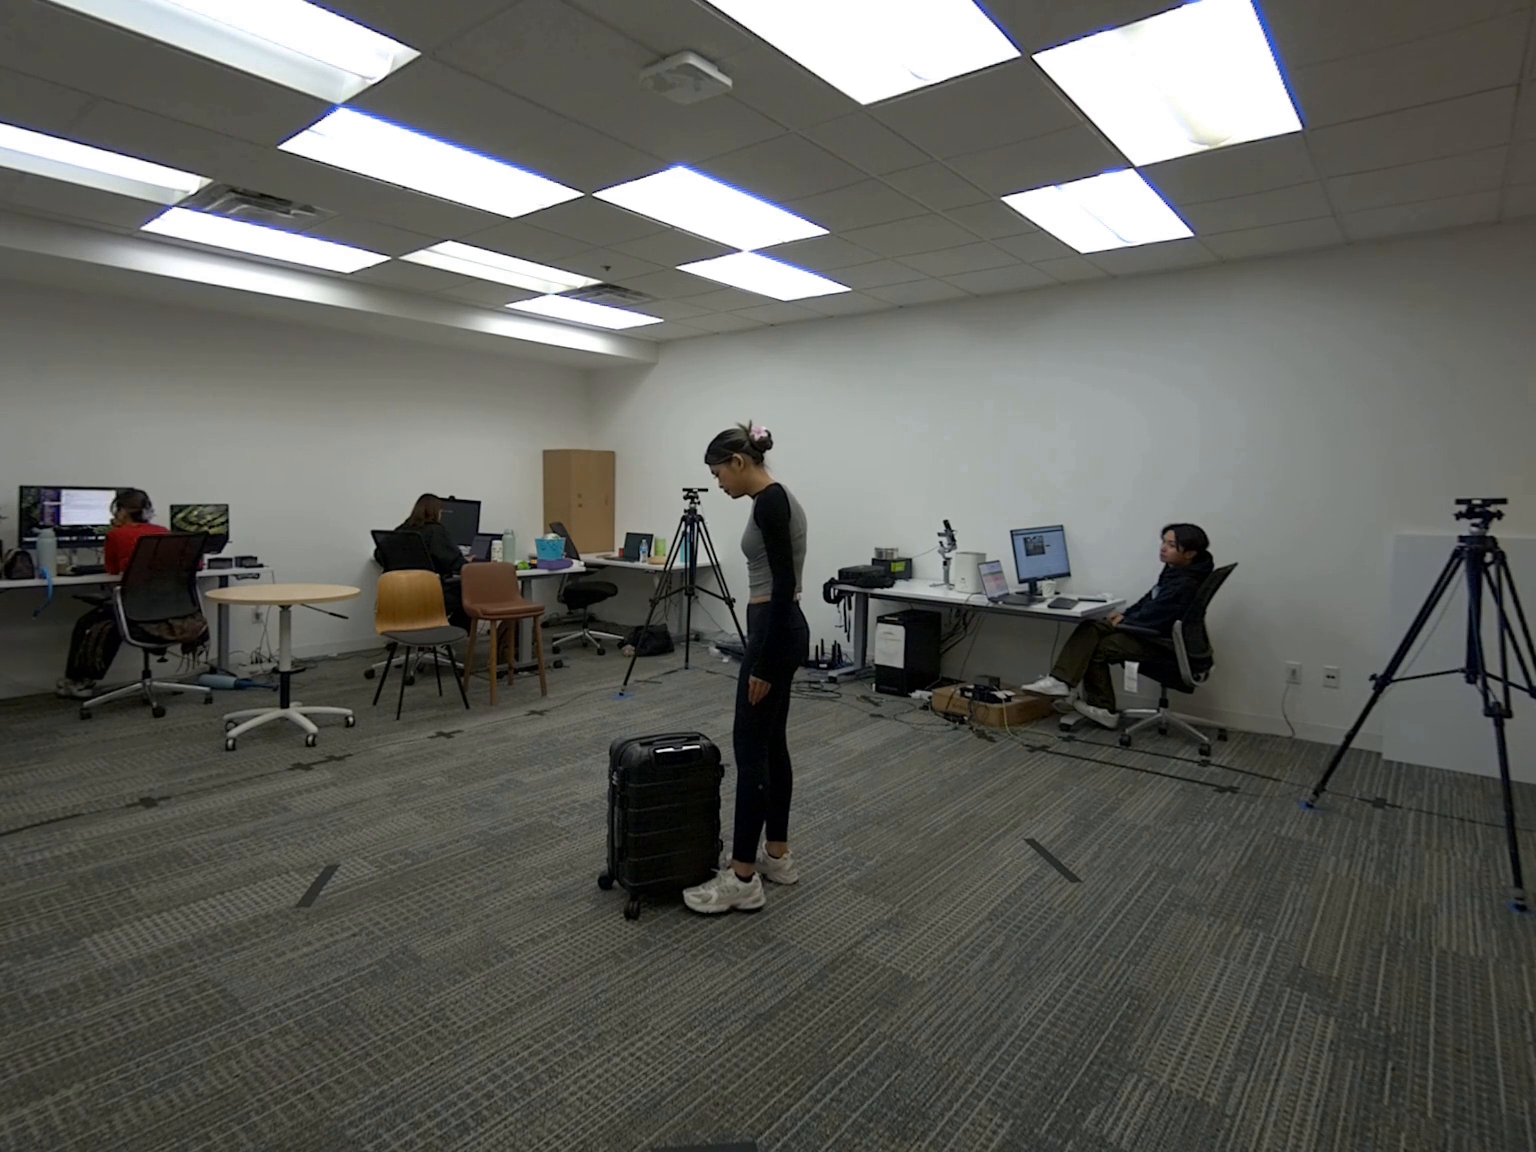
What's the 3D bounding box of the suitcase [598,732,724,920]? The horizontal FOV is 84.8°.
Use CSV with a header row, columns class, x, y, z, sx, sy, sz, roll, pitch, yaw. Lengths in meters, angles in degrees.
class,x,y,z,sx,sy,sz,roll,pitch,yaw
suitcase,-0.371,0.807,2.913,0.366,0.548,0.255,-1,3,-26
